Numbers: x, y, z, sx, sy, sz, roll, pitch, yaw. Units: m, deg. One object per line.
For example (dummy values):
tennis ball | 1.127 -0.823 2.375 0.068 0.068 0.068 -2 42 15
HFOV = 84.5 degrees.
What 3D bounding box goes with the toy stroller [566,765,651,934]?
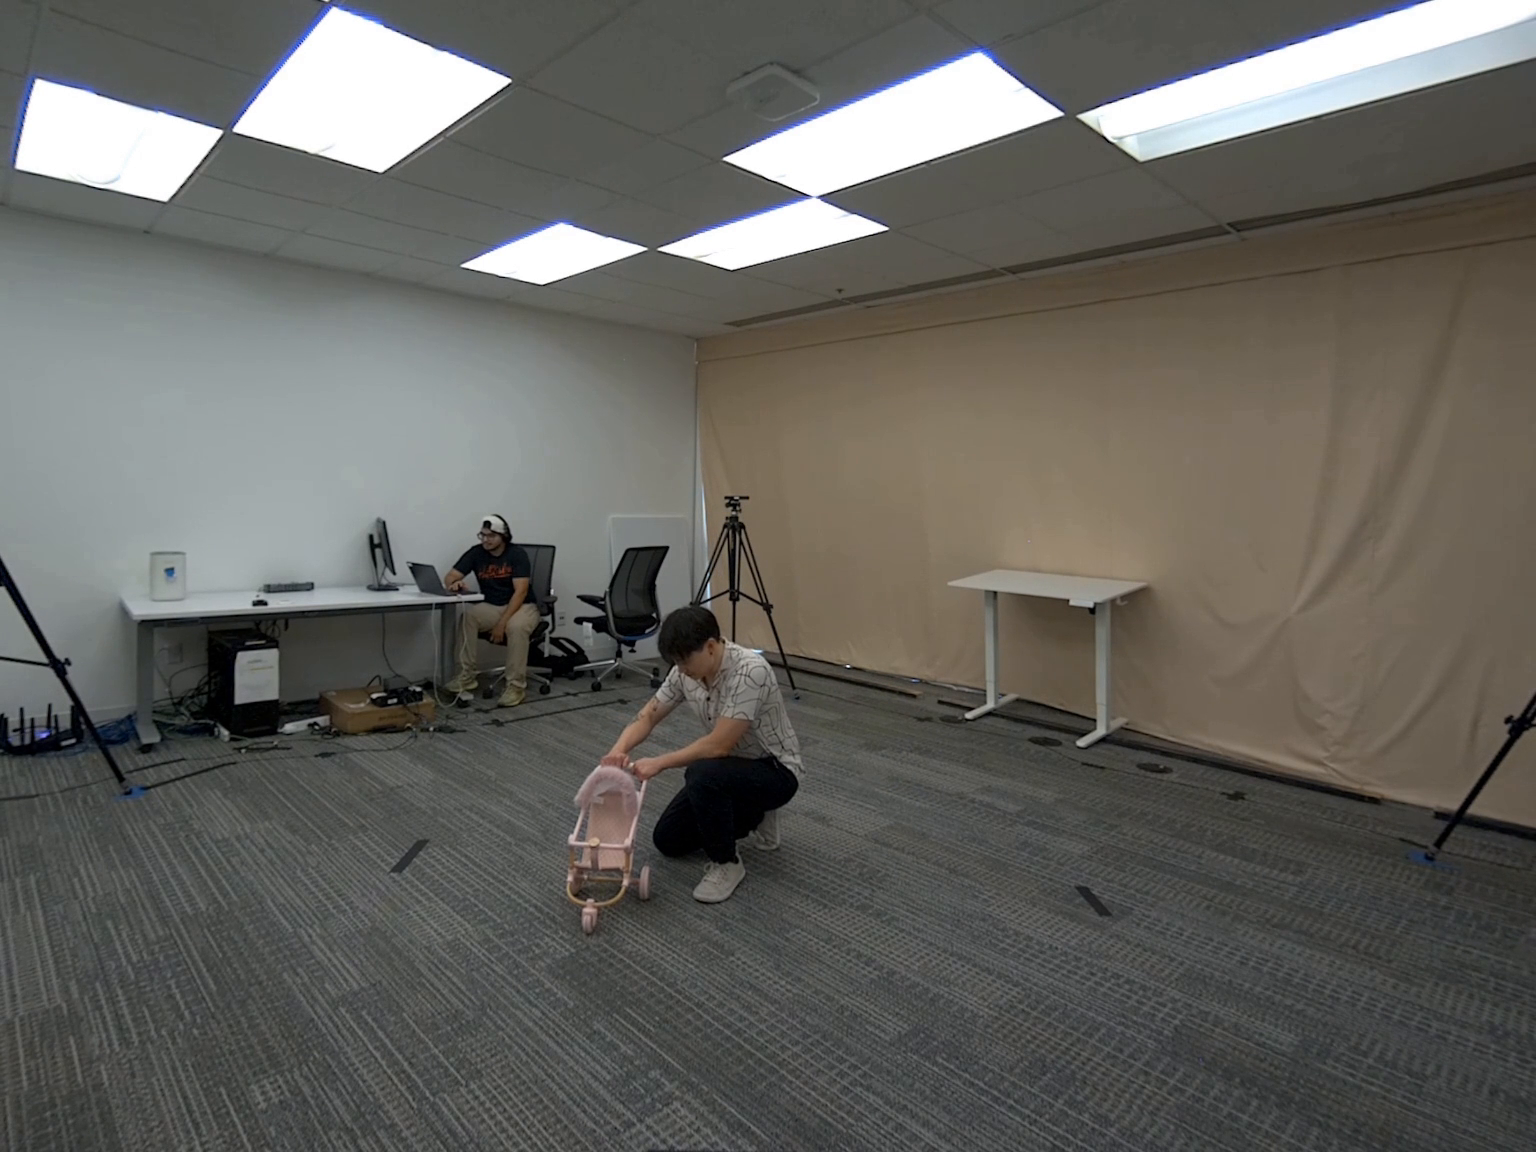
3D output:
toy stroller | -0.556 0.900 2.847 0.284 0.540 0.335 1 -13 9
